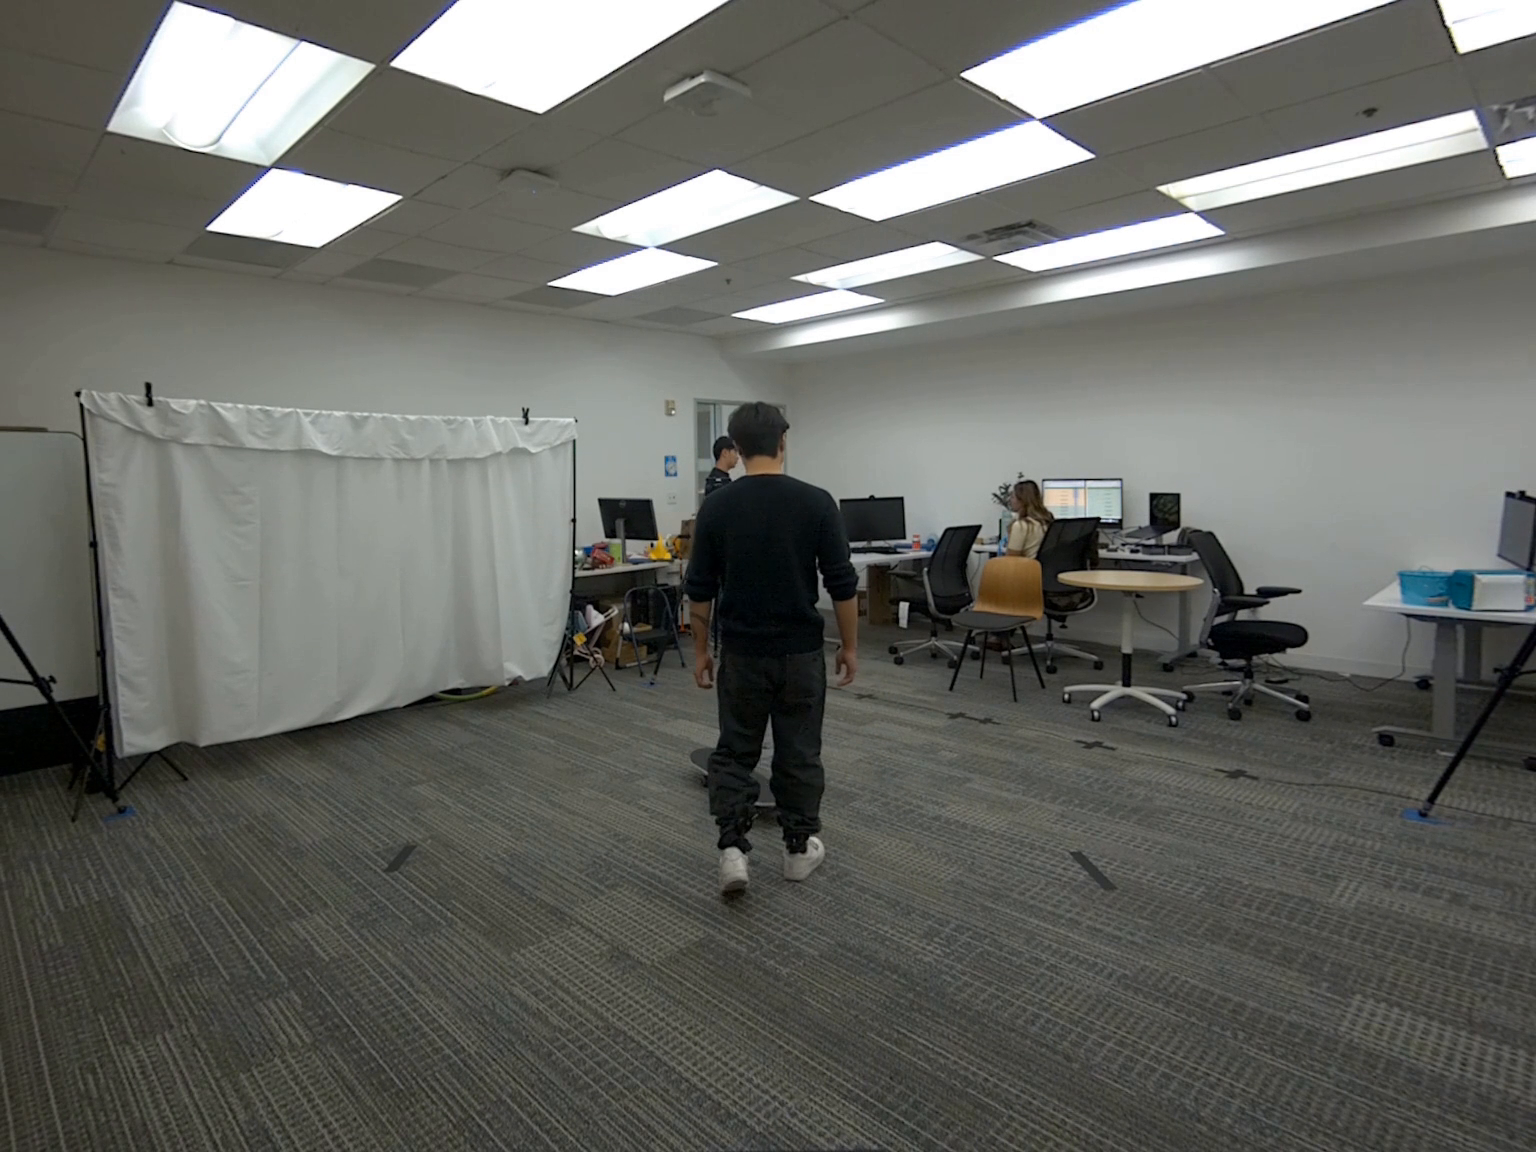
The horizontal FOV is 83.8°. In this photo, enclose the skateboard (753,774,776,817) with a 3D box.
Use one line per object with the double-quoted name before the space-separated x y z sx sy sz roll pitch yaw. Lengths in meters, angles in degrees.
"skateboard" -0.119 0.918 3.750 0.189 0.110 0.807 -4 7 -29
